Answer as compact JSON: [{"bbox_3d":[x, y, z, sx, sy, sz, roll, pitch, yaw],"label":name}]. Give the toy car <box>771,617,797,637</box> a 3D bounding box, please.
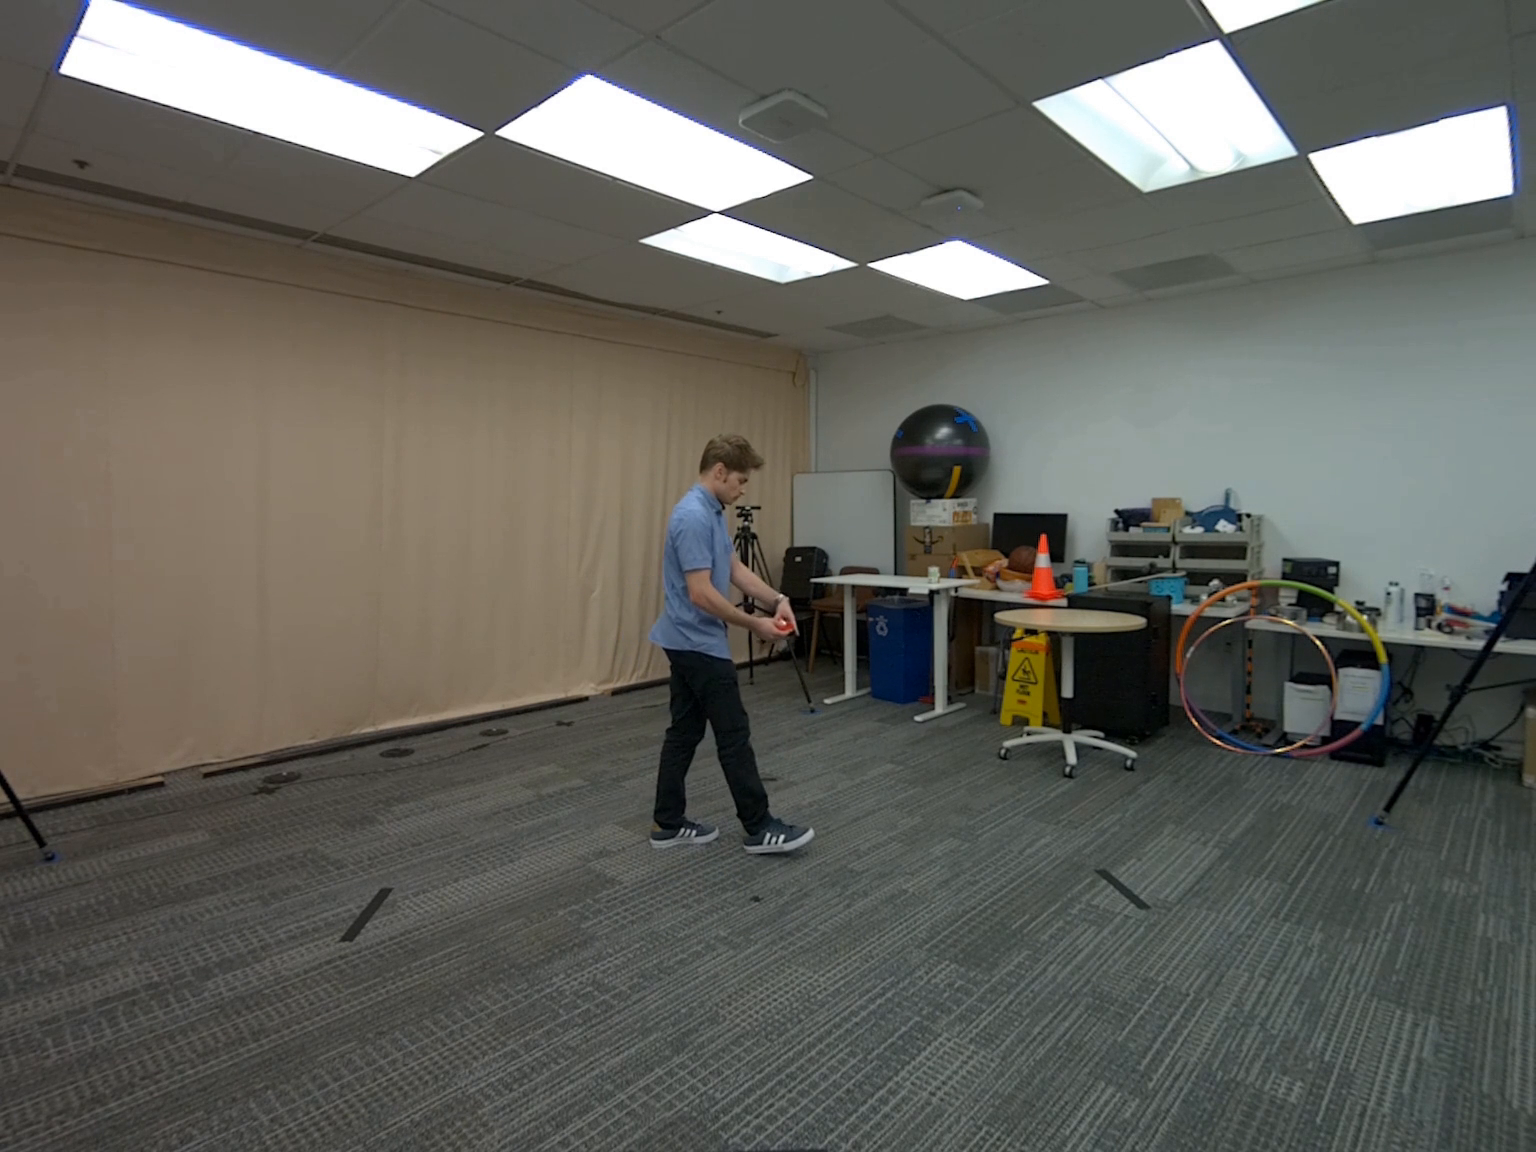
[{"bbox_3d":[0.031,0.233,3.413,0.129,0.084,0.255,-14,-9,-15],"label":"toy car"}]
